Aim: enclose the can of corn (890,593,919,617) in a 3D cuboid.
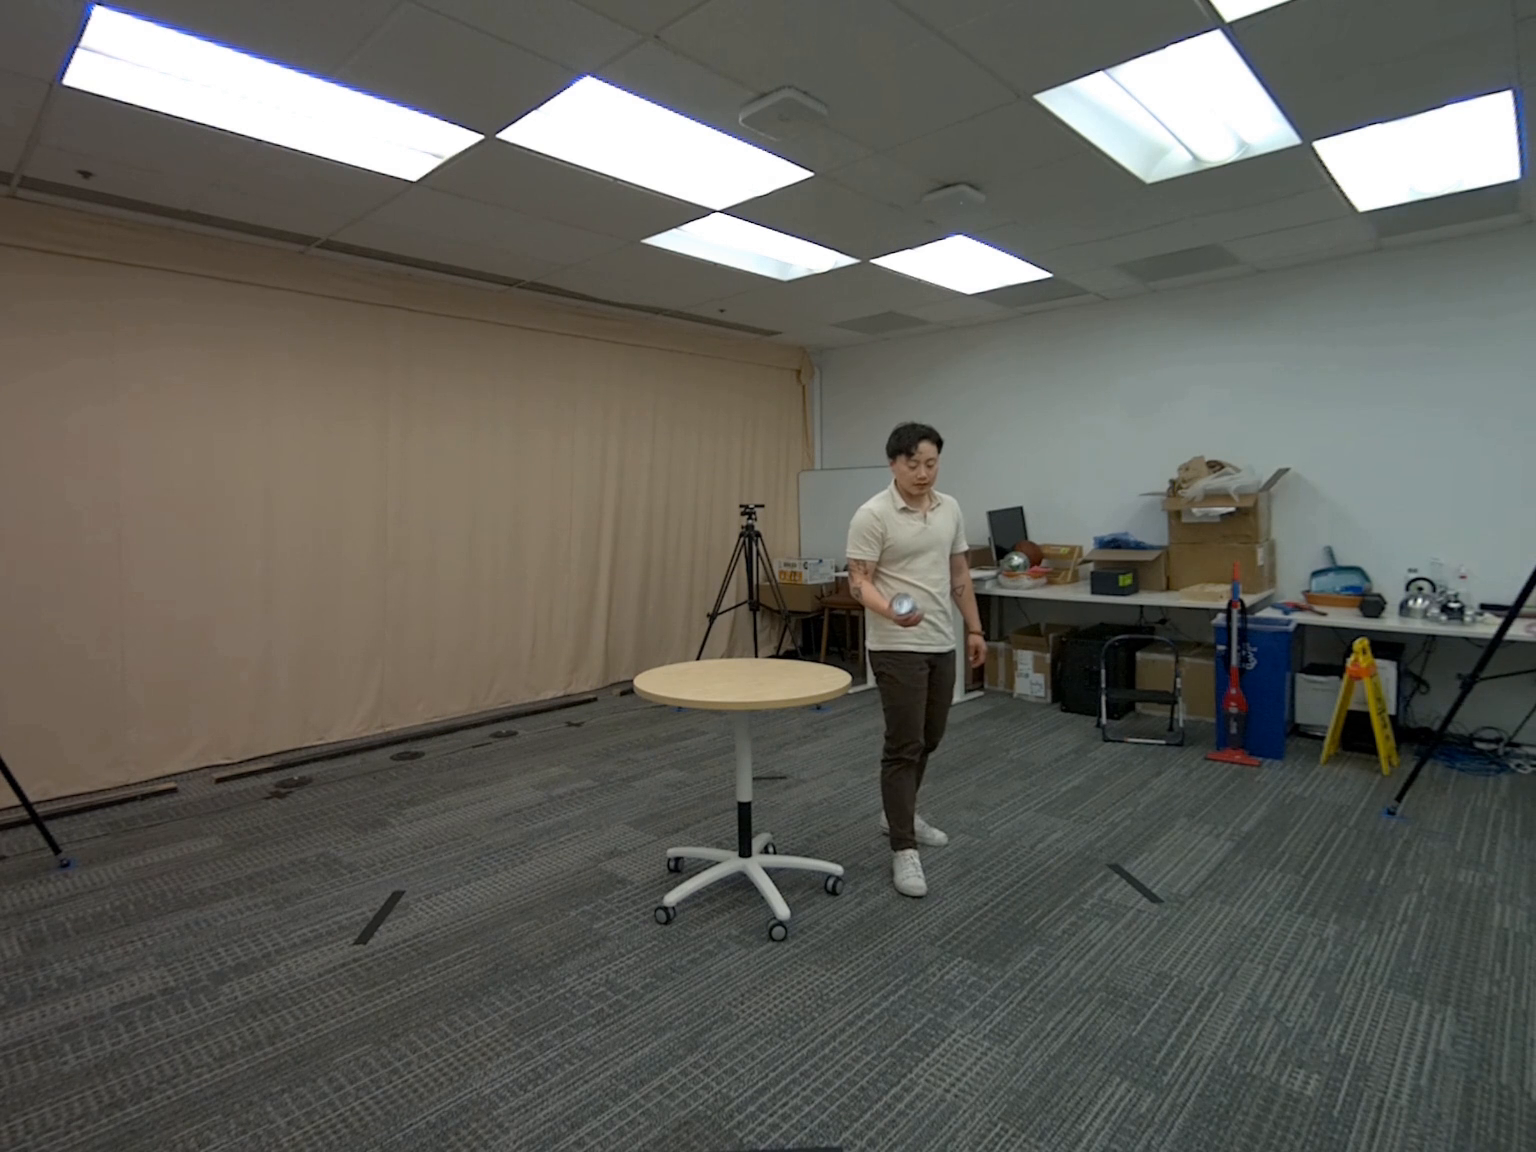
[{"bbox_3d":[0.471,0.112,2.856,0.076,0.074,0.107,2,-17,32],"label":"can of corn"}]
